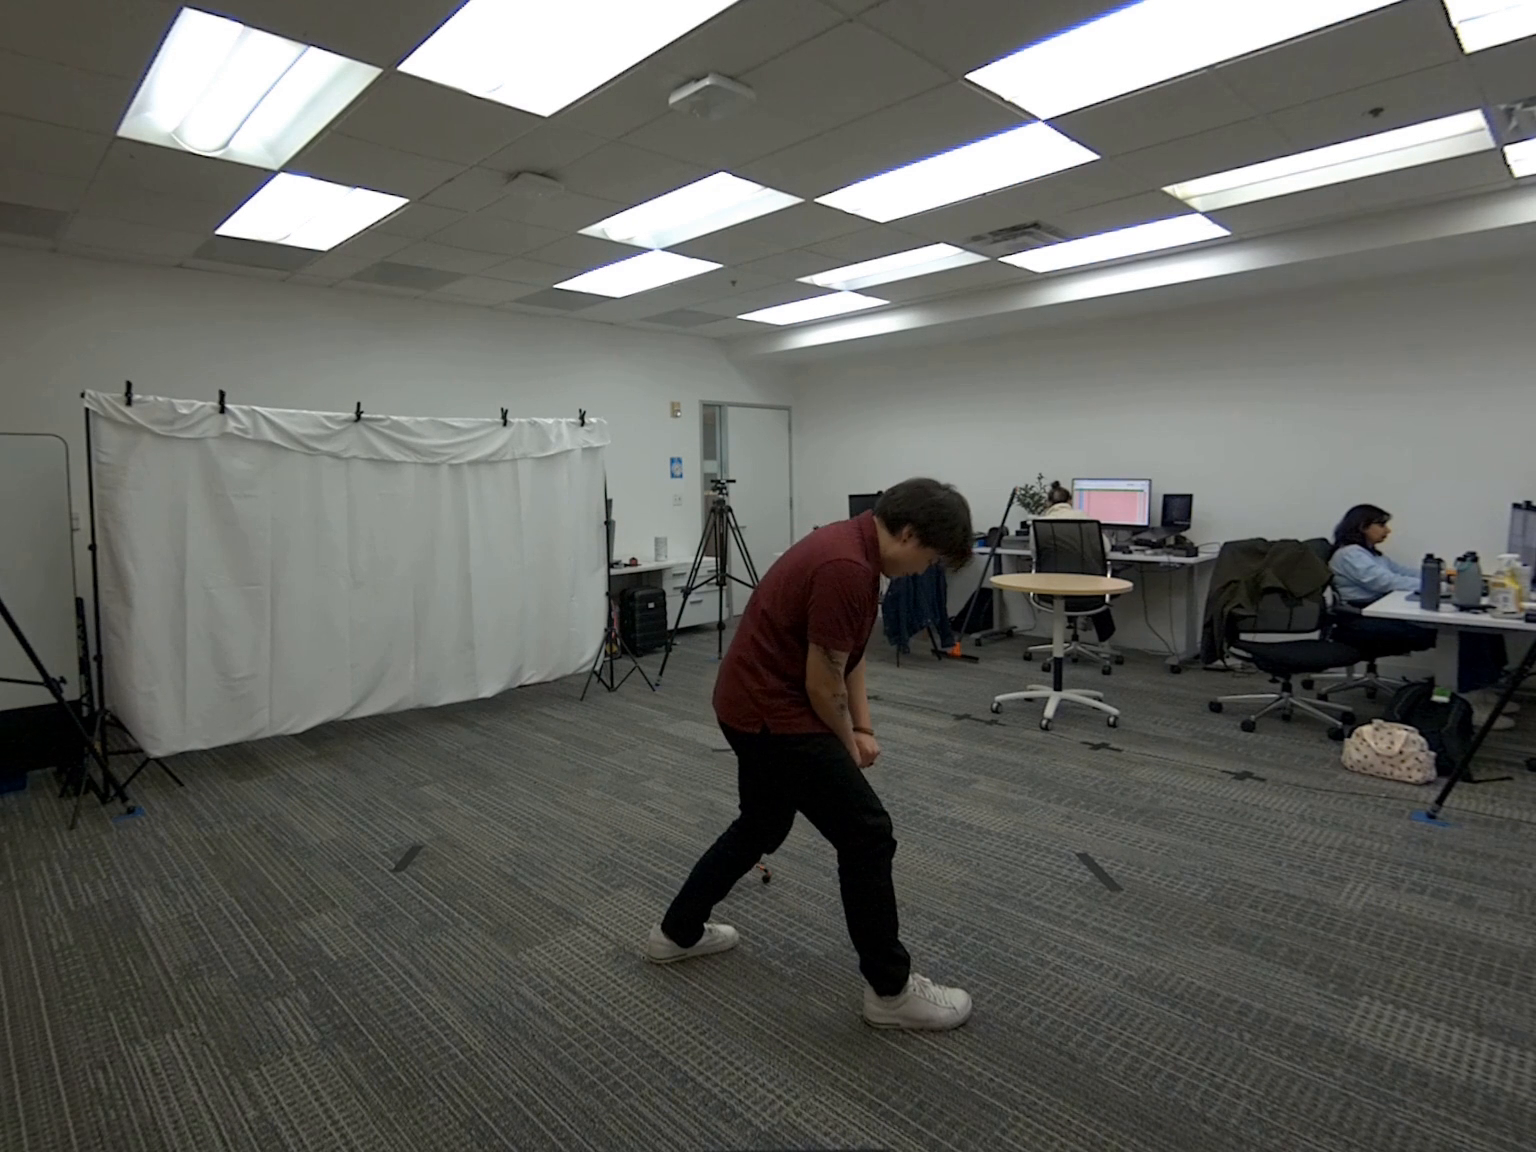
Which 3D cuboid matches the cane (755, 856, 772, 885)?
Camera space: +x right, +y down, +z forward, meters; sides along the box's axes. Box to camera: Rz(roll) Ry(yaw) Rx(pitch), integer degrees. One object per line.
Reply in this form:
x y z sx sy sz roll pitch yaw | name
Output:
0.091 0.756 2.650 0.201 0.156 0.904 -4 -31 -35 | cane
